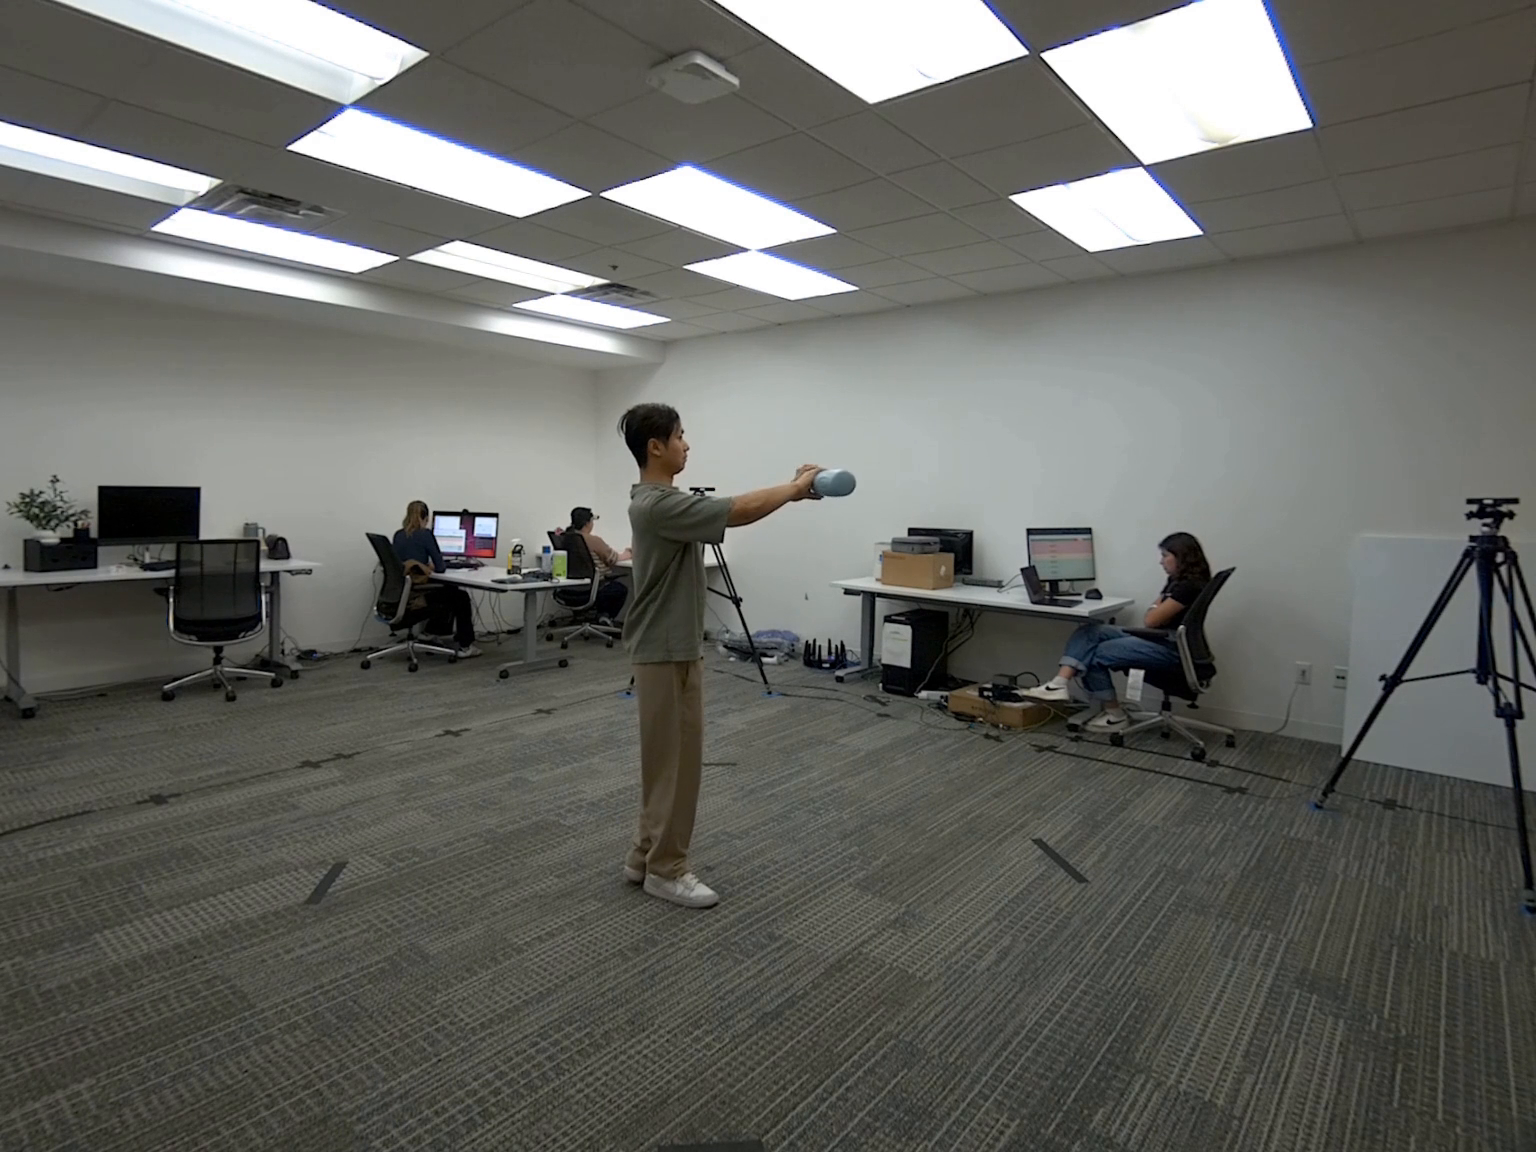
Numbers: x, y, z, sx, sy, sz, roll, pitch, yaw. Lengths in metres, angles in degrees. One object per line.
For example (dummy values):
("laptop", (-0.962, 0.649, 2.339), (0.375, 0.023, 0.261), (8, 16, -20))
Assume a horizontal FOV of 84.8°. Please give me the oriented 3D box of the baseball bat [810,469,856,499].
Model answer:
("baseball bat", (0.173, -0.323, 2.932), (0.088, 0.088, 0.551), (0, 6, -12))
